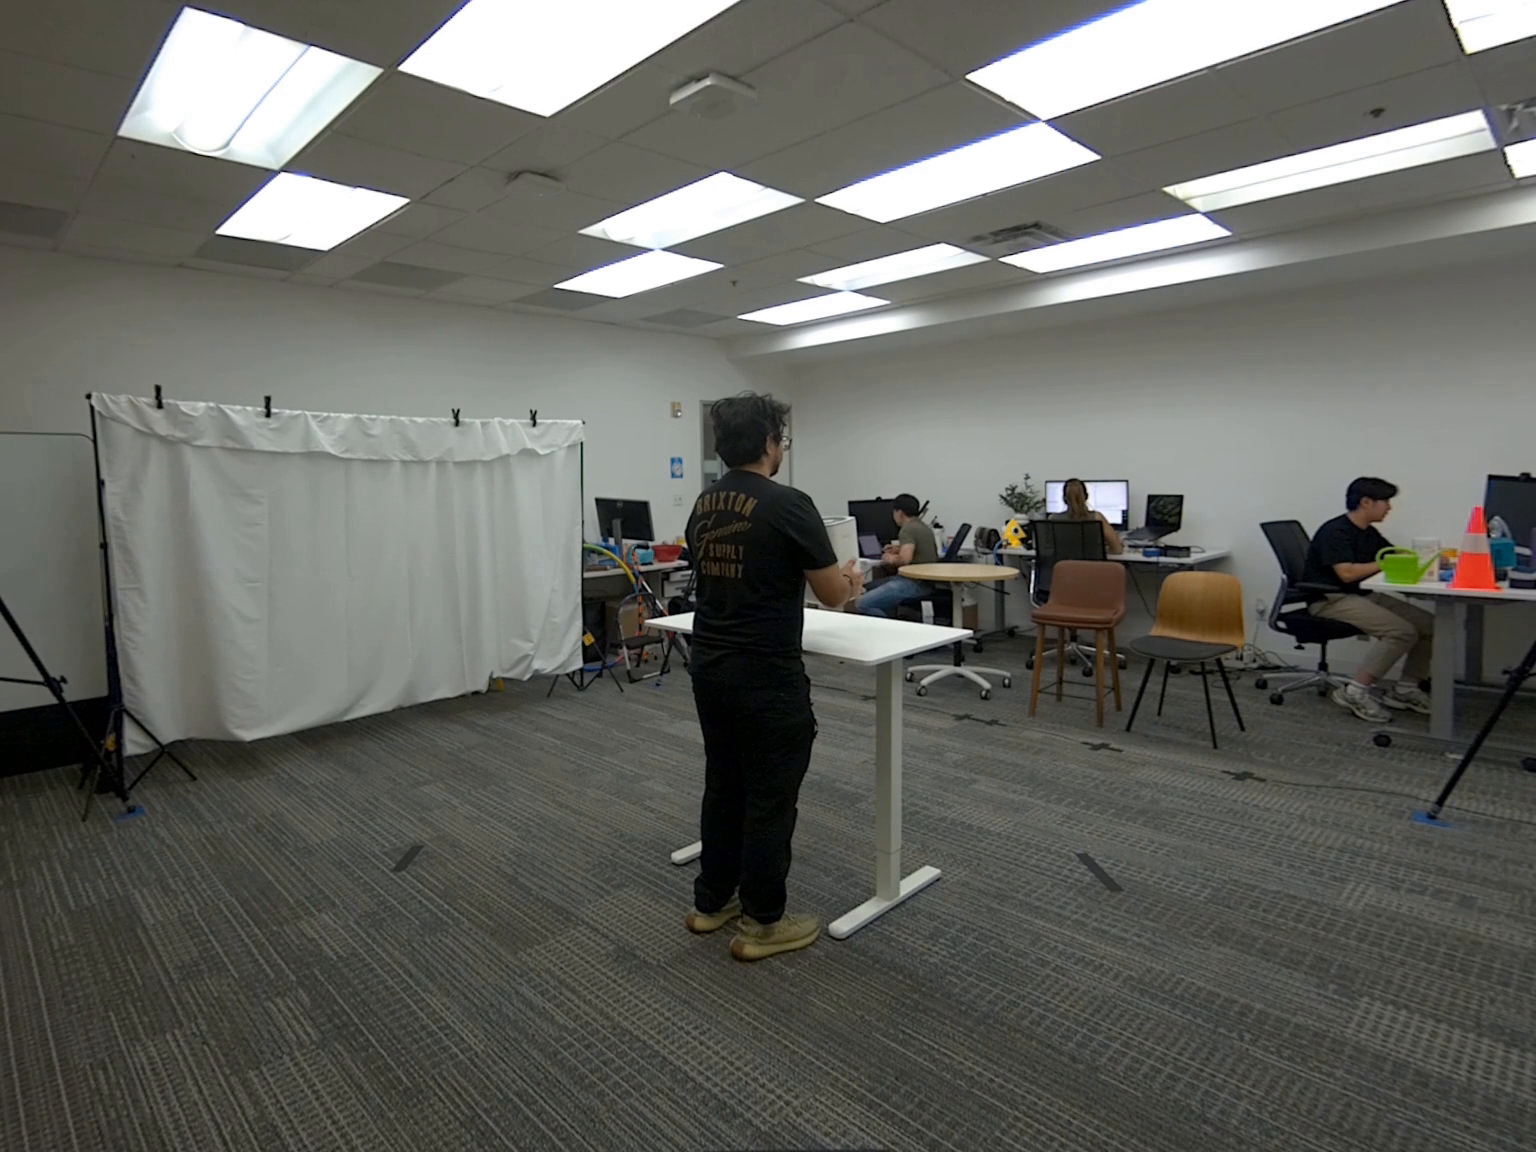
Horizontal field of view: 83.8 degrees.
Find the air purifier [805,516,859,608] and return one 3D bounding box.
[{"bbox_3d":[0.204,-0.051,2.807,0.177,0.263,0.167,3,13,42],"label":"air purifier"}]
